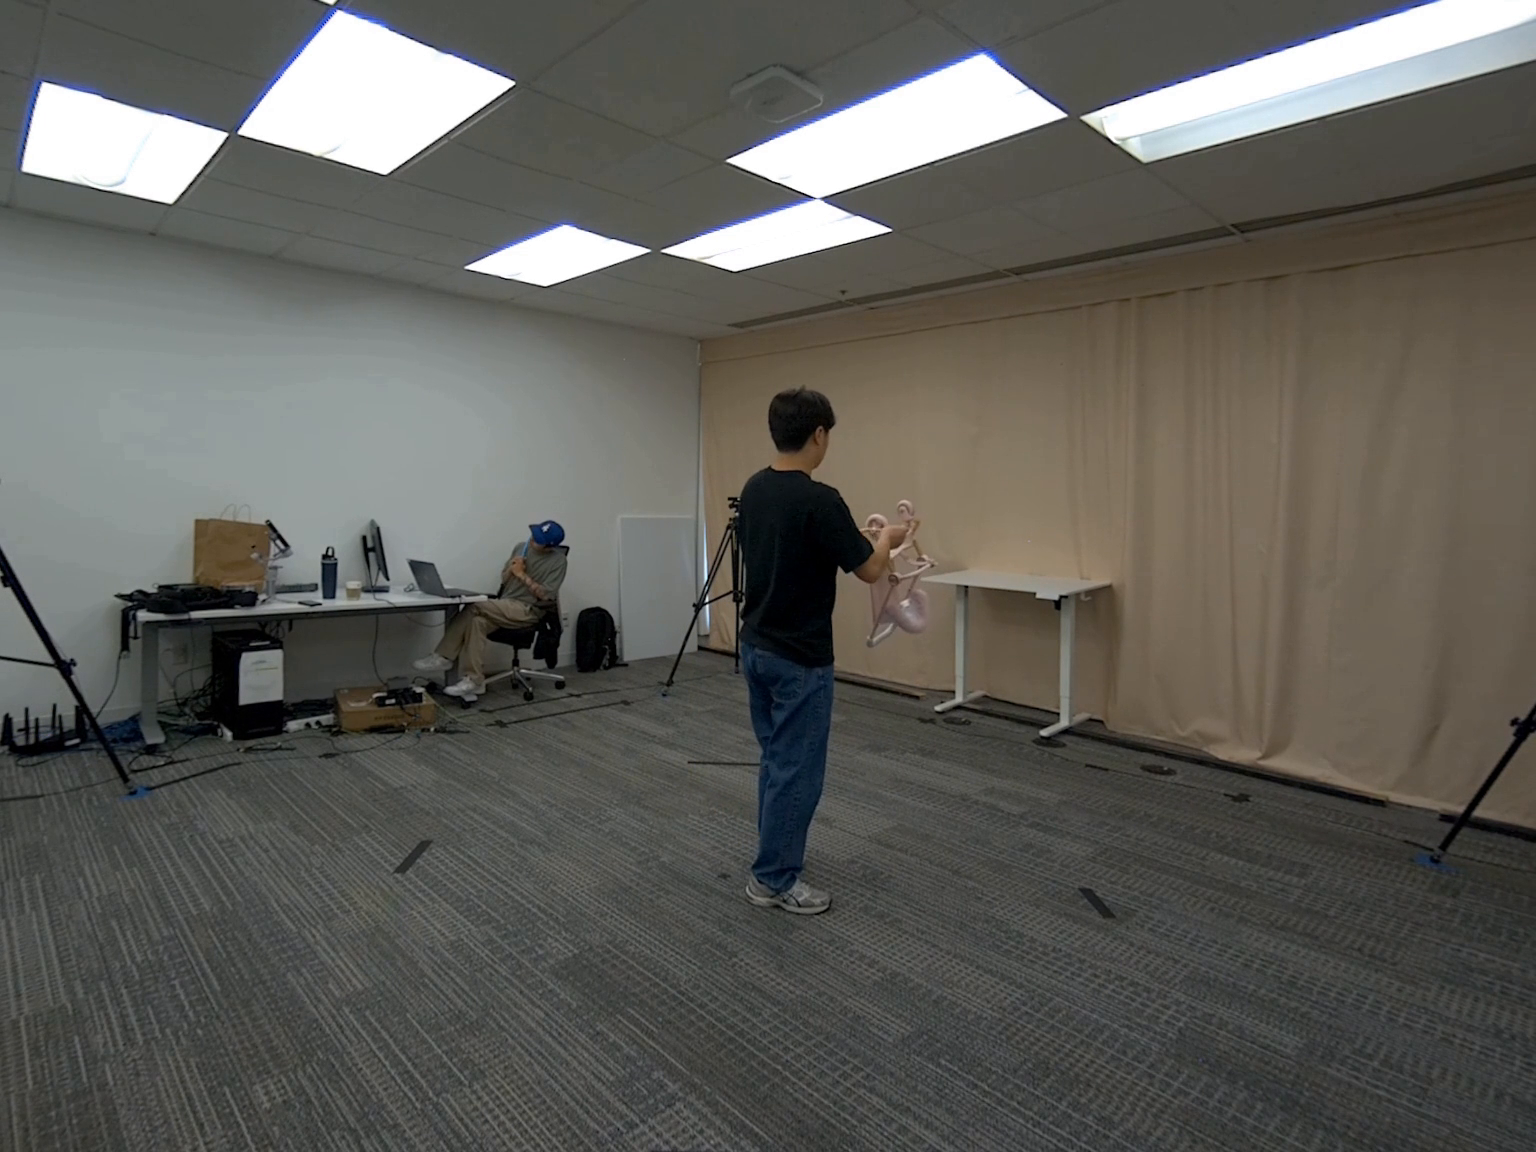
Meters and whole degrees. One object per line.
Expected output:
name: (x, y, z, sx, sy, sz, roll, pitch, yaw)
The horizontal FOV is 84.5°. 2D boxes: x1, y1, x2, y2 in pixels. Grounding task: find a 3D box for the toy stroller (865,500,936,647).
toy stroller: (0.469, -0.011, 3.171, 0.348, 0.531, 0.278, -10, 11, 43)
